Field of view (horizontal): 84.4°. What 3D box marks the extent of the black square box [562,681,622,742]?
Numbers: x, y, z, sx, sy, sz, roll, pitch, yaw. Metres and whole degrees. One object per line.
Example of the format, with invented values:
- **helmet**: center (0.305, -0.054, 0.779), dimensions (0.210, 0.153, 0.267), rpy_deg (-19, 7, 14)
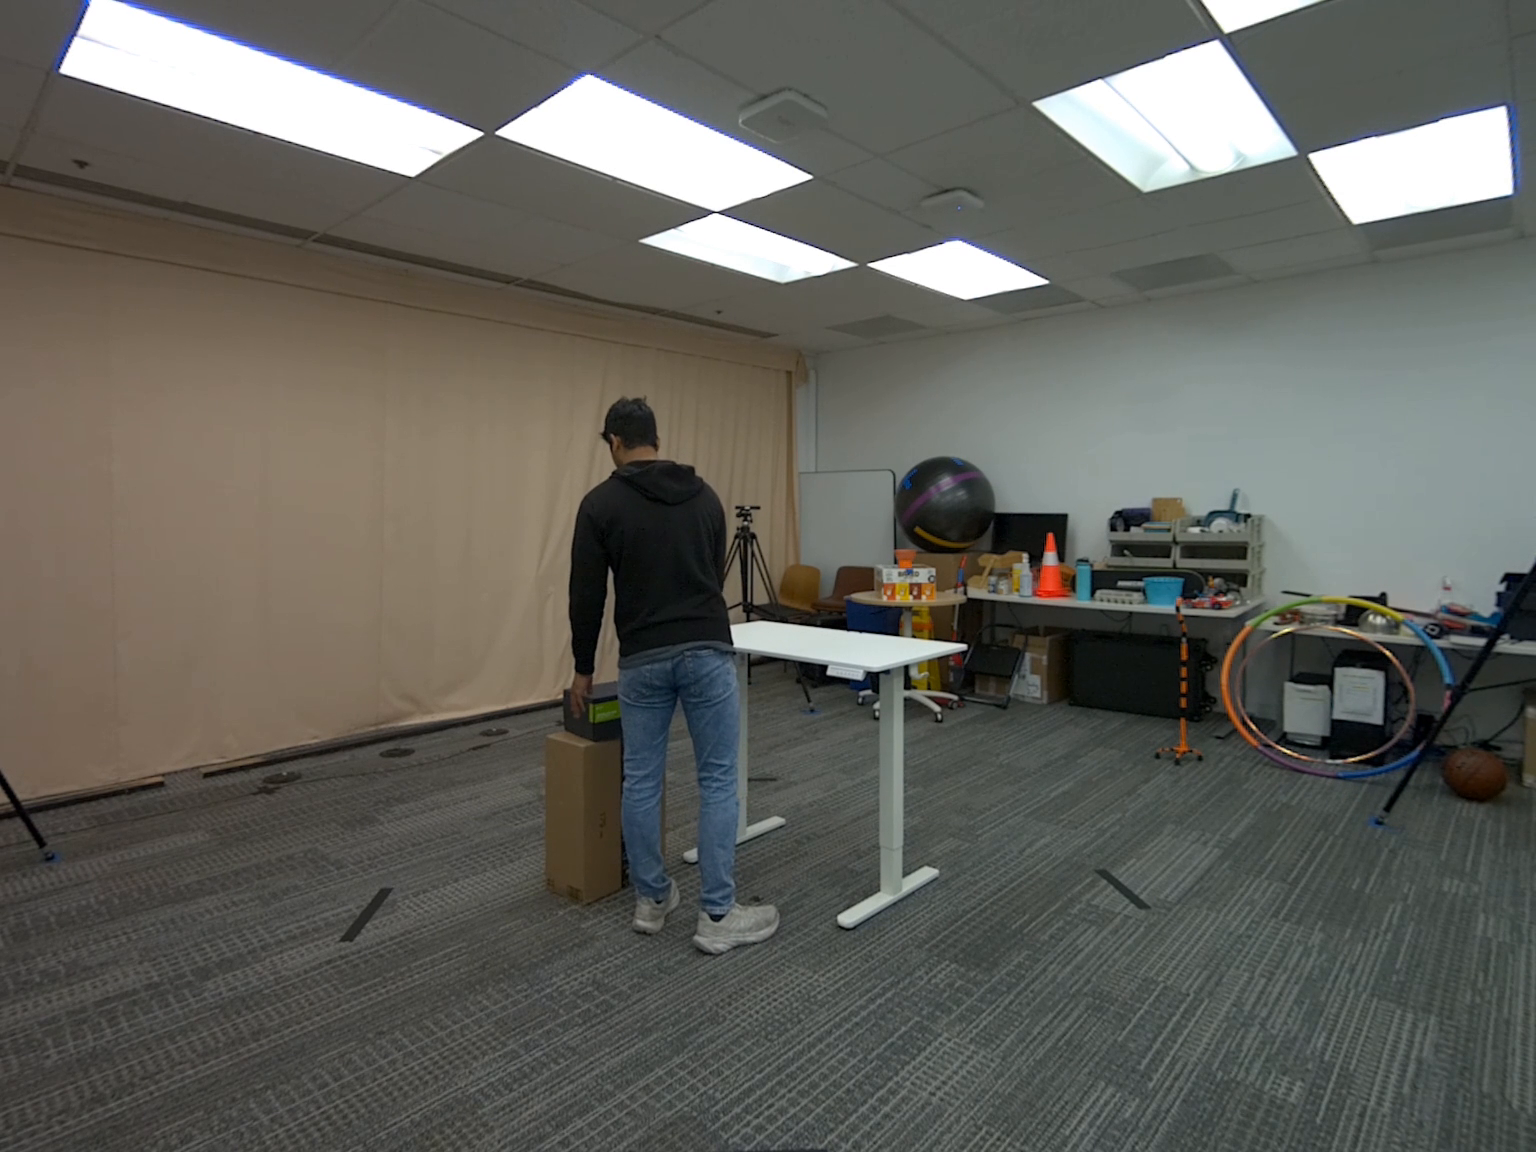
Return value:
- **black square box**: center (-0.605, 0.497, 3.112), dimensions (0.221, 0.155, 0.224), rpy_deg (-3, 5, -42)
